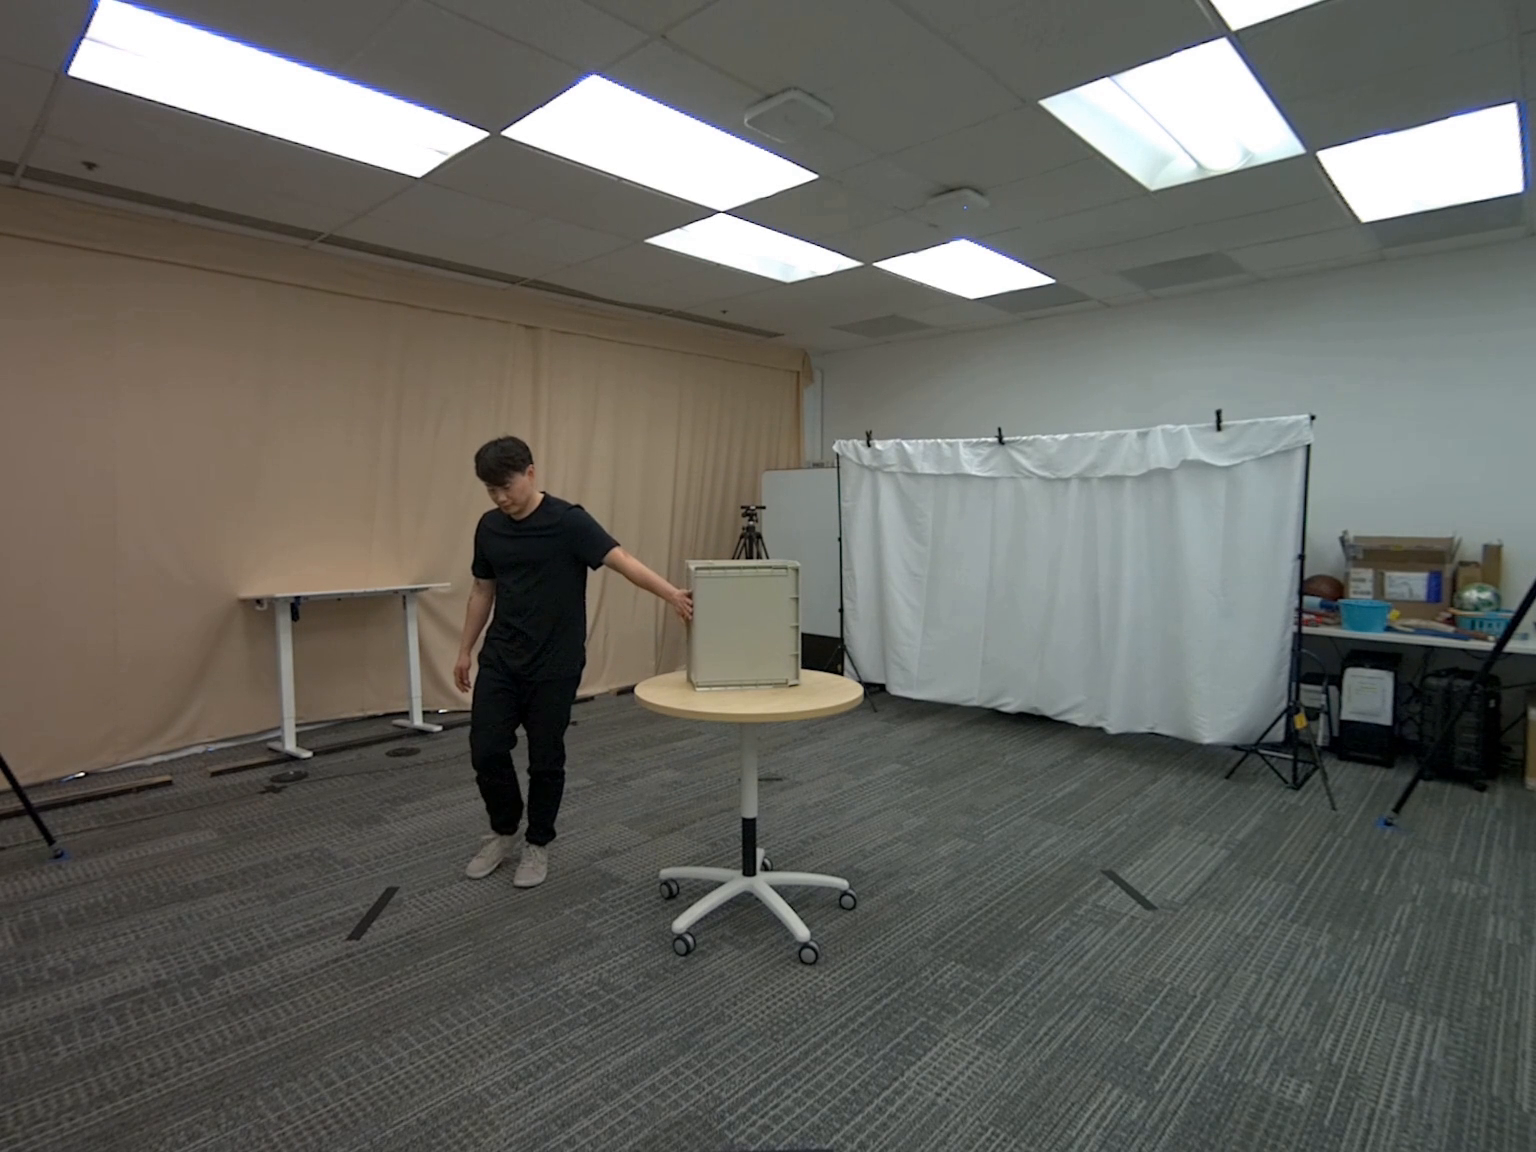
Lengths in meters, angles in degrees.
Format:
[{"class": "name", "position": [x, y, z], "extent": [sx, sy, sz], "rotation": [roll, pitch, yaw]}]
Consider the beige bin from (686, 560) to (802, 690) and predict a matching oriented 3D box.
[{"class": "beige bin", "position": [-0.082, 0.163, 2.870], "extent": [0.373, 0.421, 0.191], "rotation": [0, 4, -10]}]
